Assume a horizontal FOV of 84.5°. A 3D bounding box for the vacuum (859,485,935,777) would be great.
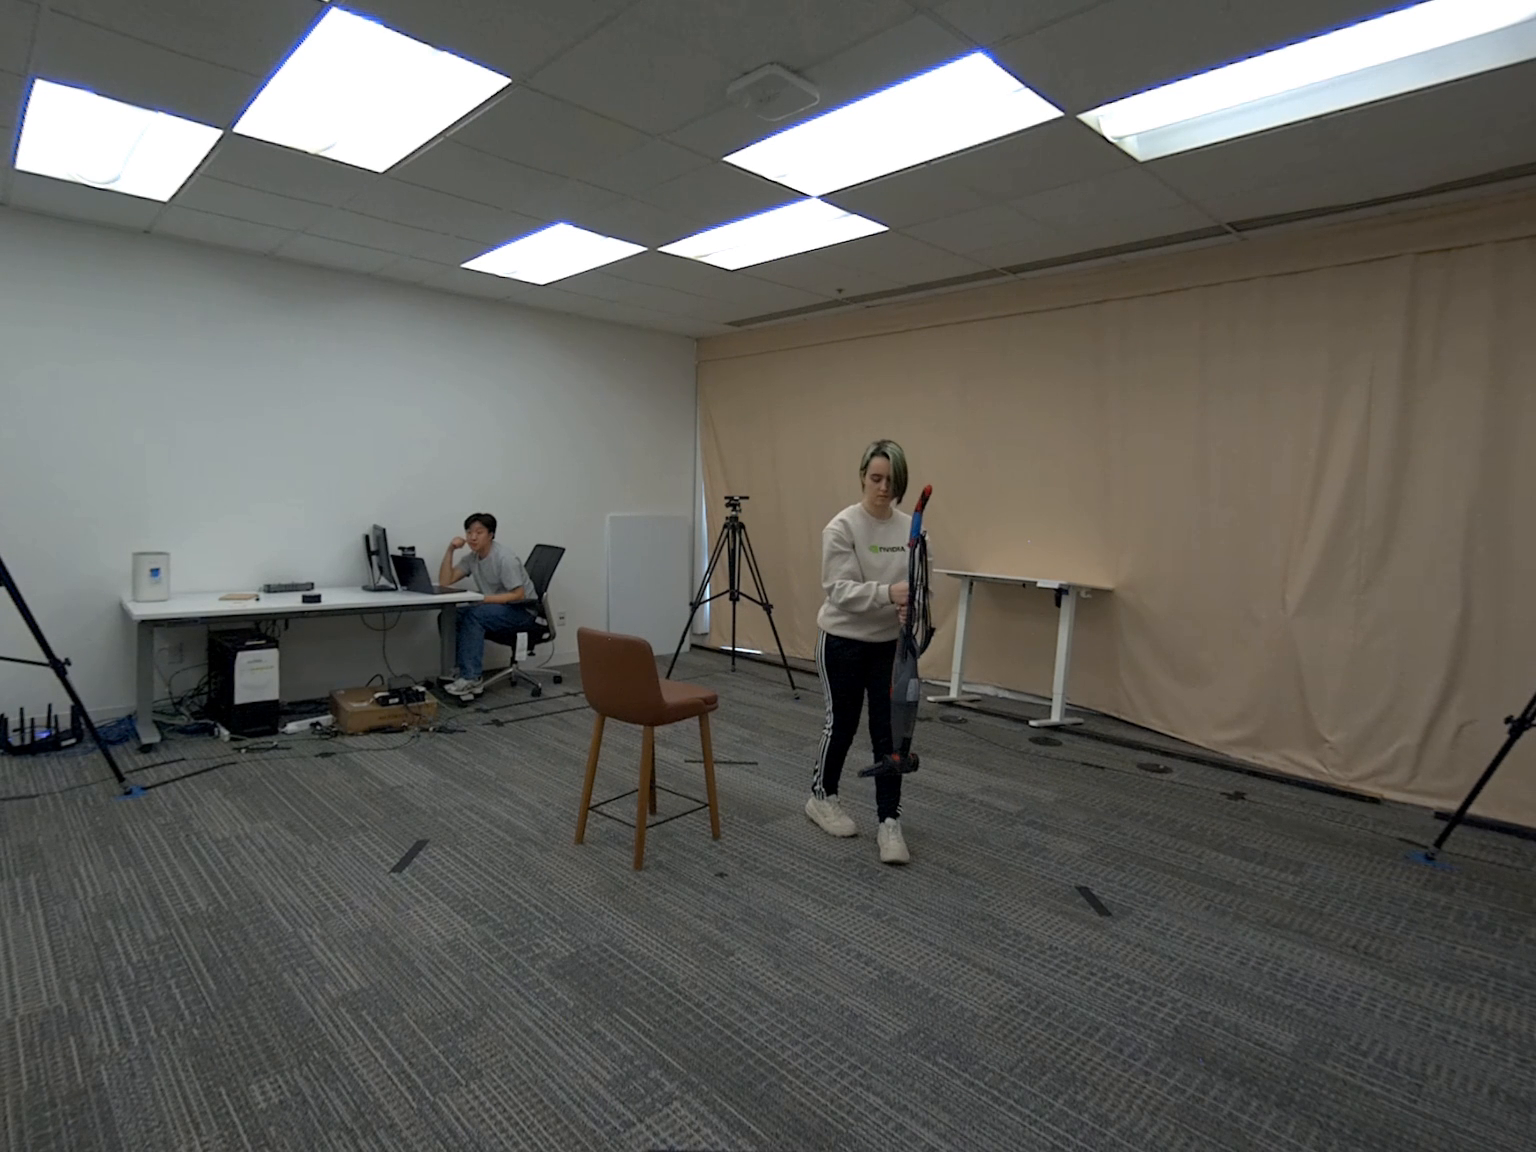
[{"bbox_3d":[0.520,0.191,3.073,0.247,1.043,0.148,0,10,-30],"label":"vacuum"}]
